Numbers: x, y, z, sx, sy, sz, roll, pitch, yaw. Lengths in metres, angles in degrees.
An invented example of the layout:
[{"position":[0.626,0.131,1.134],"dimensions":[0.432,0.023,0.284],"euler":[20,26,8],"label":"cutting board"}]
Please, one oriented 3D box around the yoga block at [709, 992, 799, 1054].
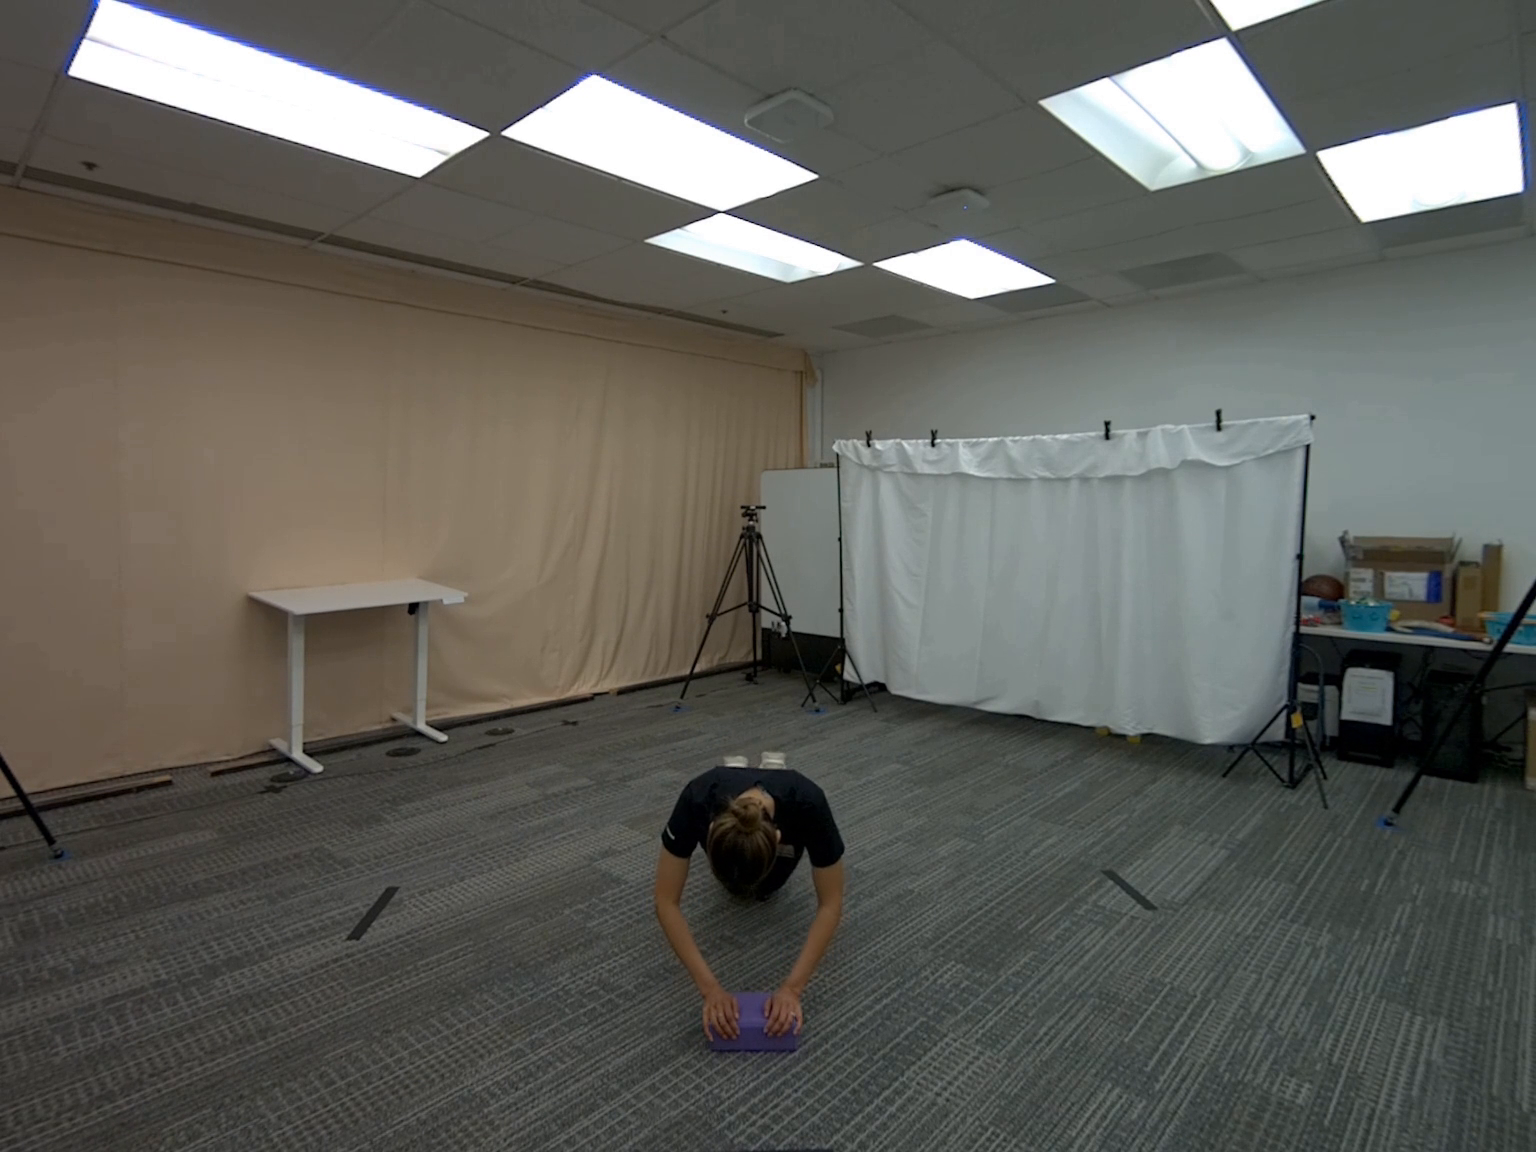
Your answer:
[{"position":[-0.042,1.159,2.220],"dimensions":[0.229,0.076,0.150],"euler":[-1,9,-1],"label":"yoga block"}]
